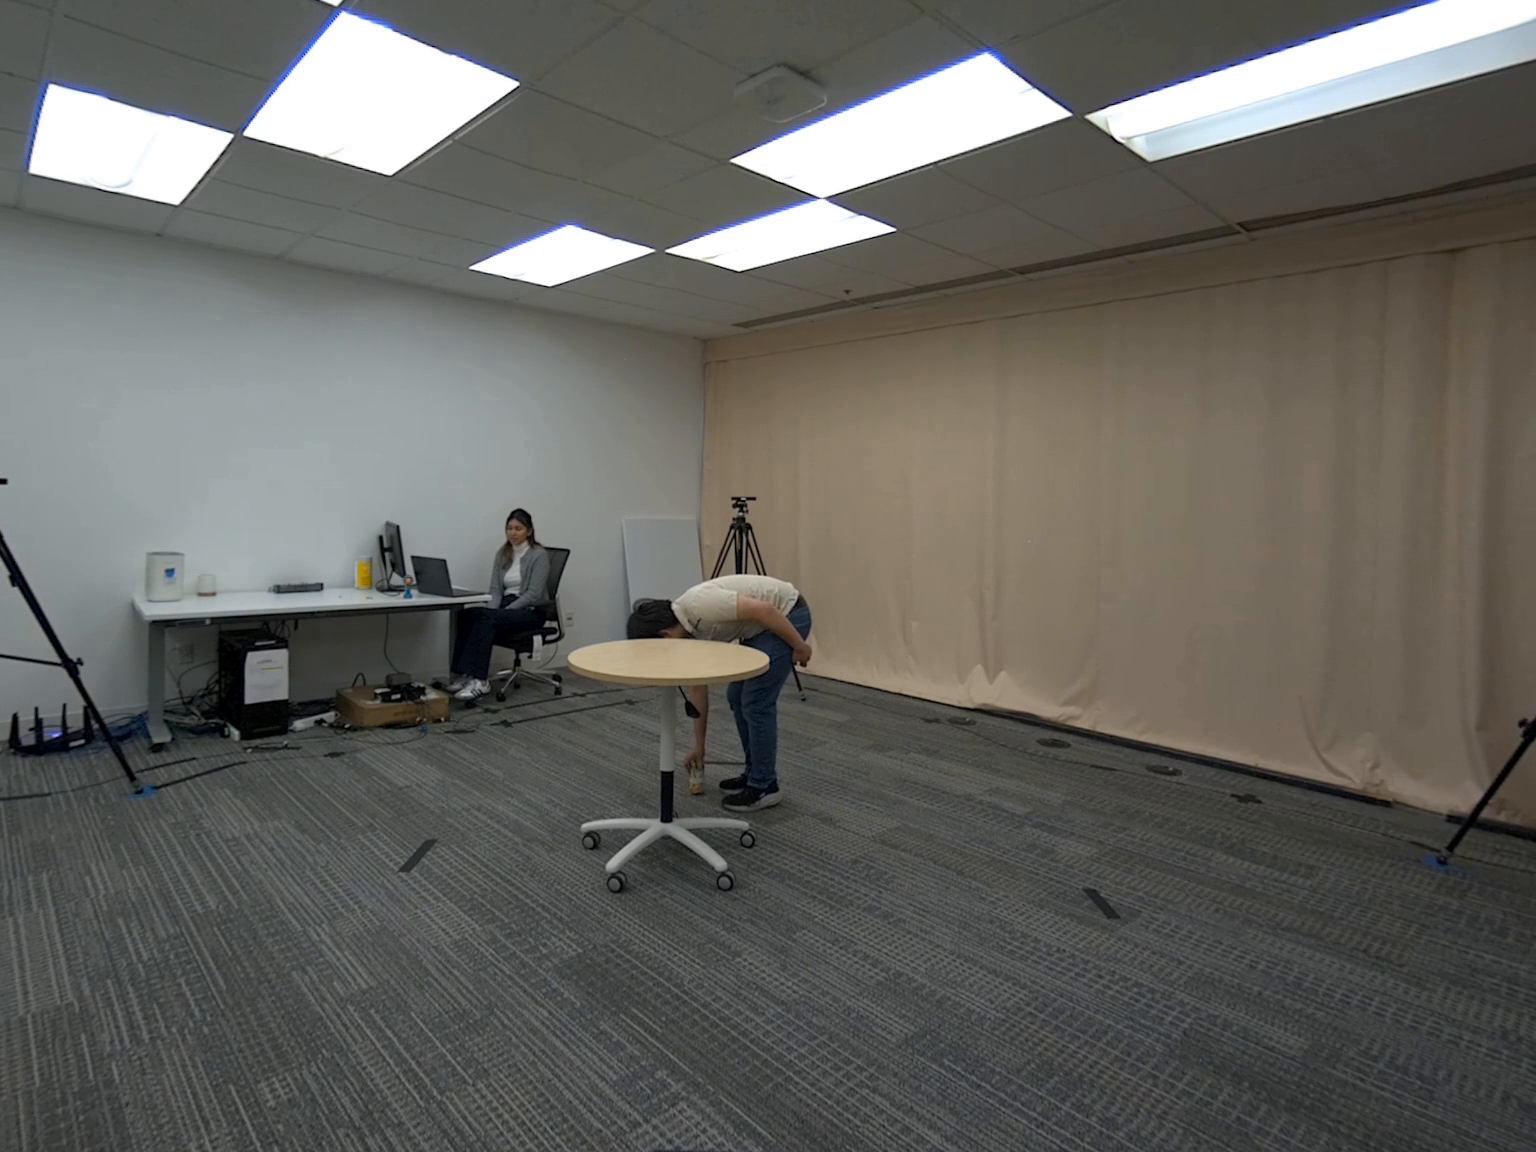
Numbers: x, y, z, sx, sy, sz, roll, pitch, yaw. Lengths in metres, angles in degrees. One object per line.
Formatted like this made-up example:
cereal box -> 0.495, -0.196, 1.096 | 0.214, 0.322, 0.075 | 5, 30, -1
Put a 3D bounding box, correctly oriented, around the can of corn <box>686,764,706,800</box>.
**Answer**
can of corn -> -0.341, 0.948, 3.980 | 0.074, 0.111, 0.074 | -1, 2, -1
